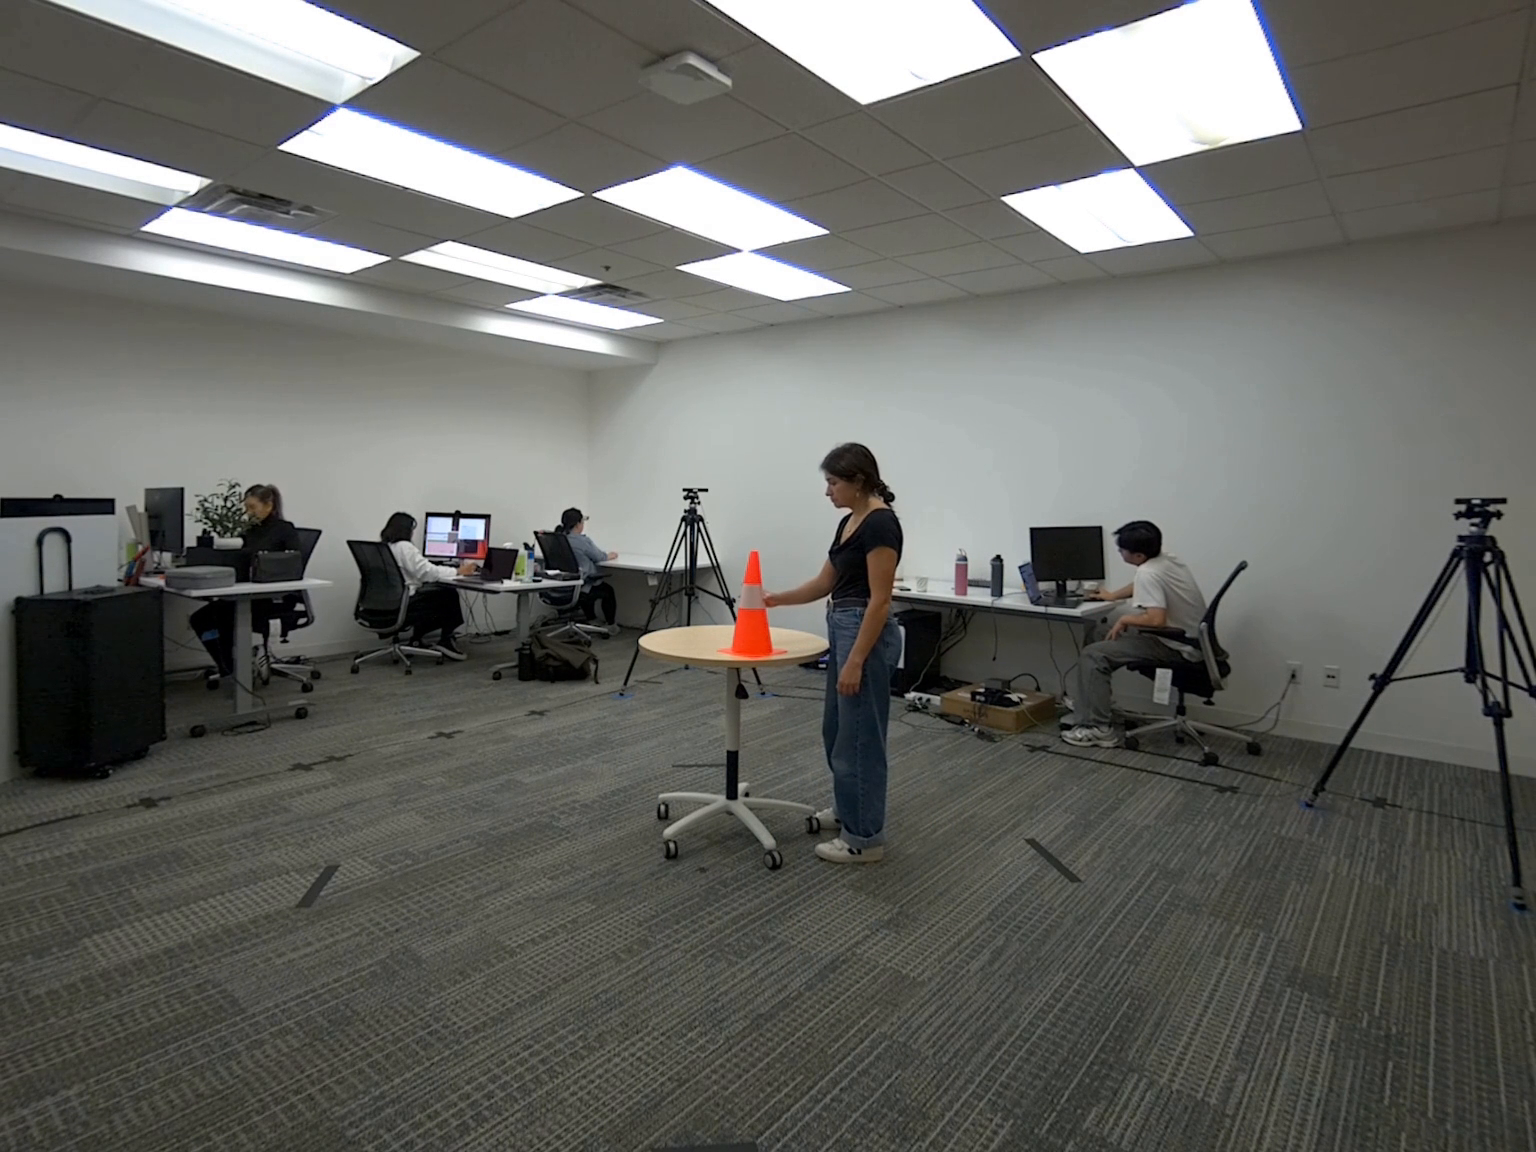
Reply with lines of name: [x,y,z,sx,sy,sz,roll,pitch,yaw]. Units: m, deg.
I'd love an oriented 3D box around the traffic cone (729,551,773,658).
traffic cone: [-0.057,0.089,3.204,0.199,0.382,0.210,-1,5,-36]
